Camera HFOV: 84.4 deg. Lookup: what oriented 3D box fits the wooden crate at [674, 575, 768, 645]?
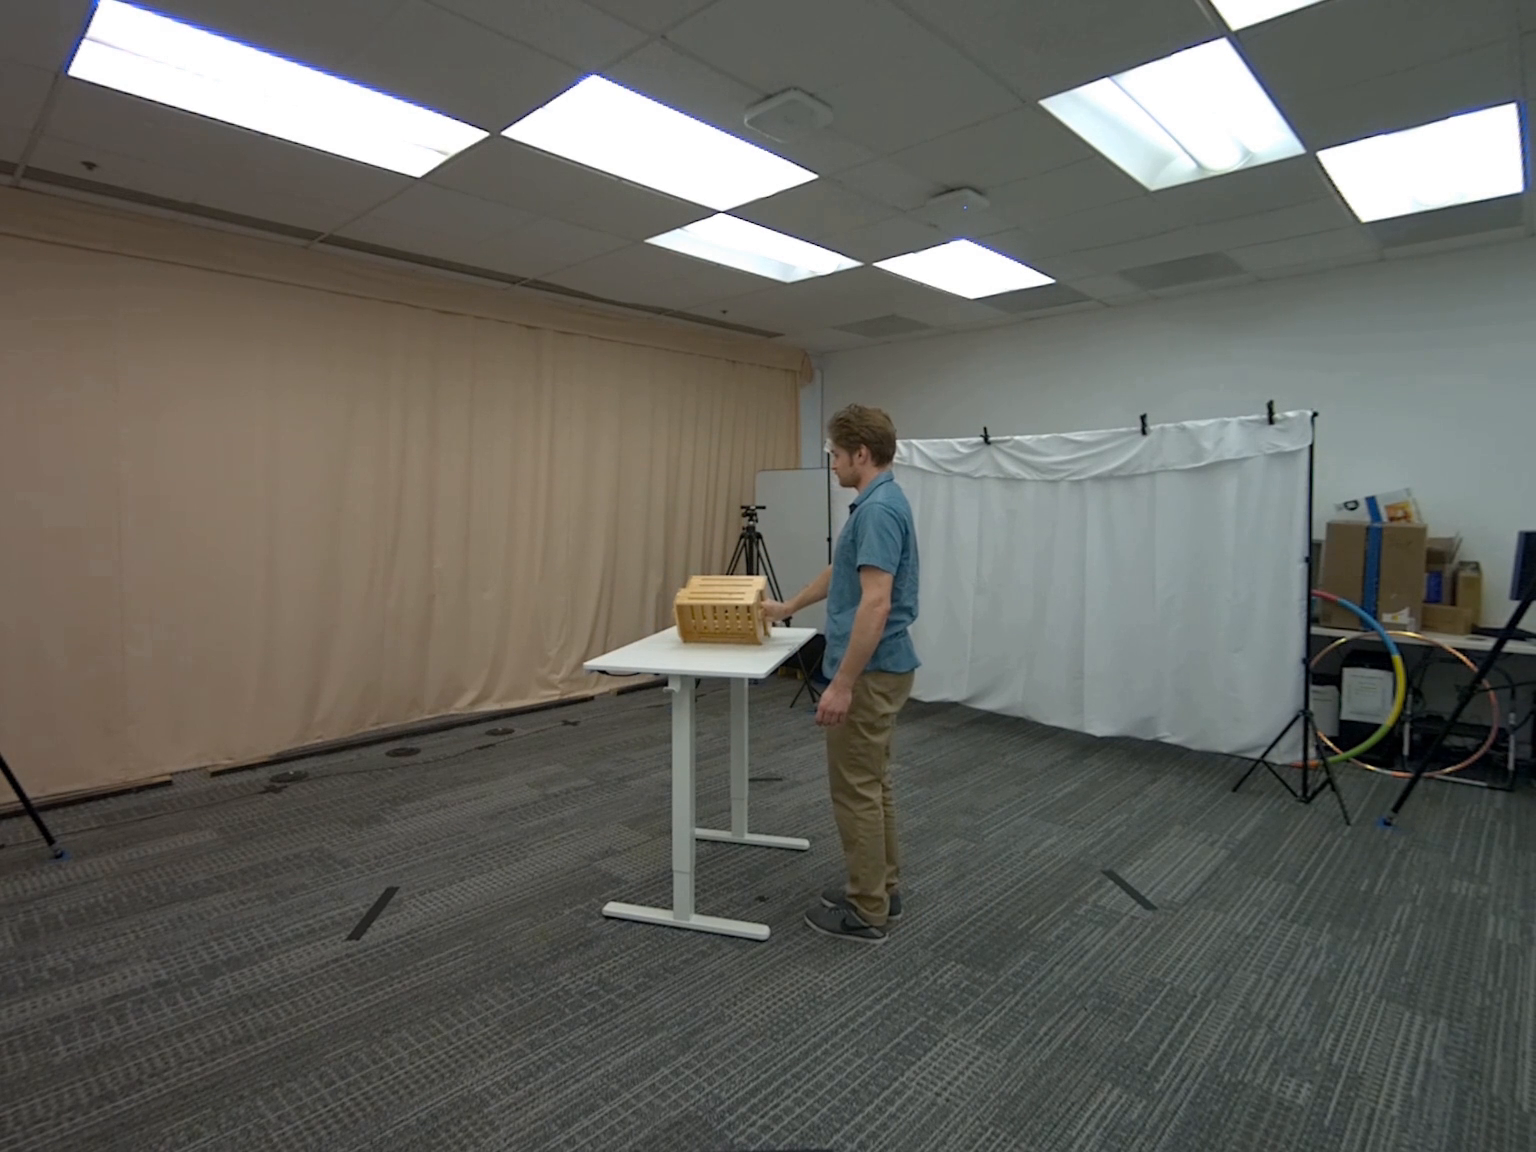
[{"bbox_3d":[-0.163,0.153,3.158,0.329,0.296,0.275,0,30,12],"label":"wooden crate"}]
